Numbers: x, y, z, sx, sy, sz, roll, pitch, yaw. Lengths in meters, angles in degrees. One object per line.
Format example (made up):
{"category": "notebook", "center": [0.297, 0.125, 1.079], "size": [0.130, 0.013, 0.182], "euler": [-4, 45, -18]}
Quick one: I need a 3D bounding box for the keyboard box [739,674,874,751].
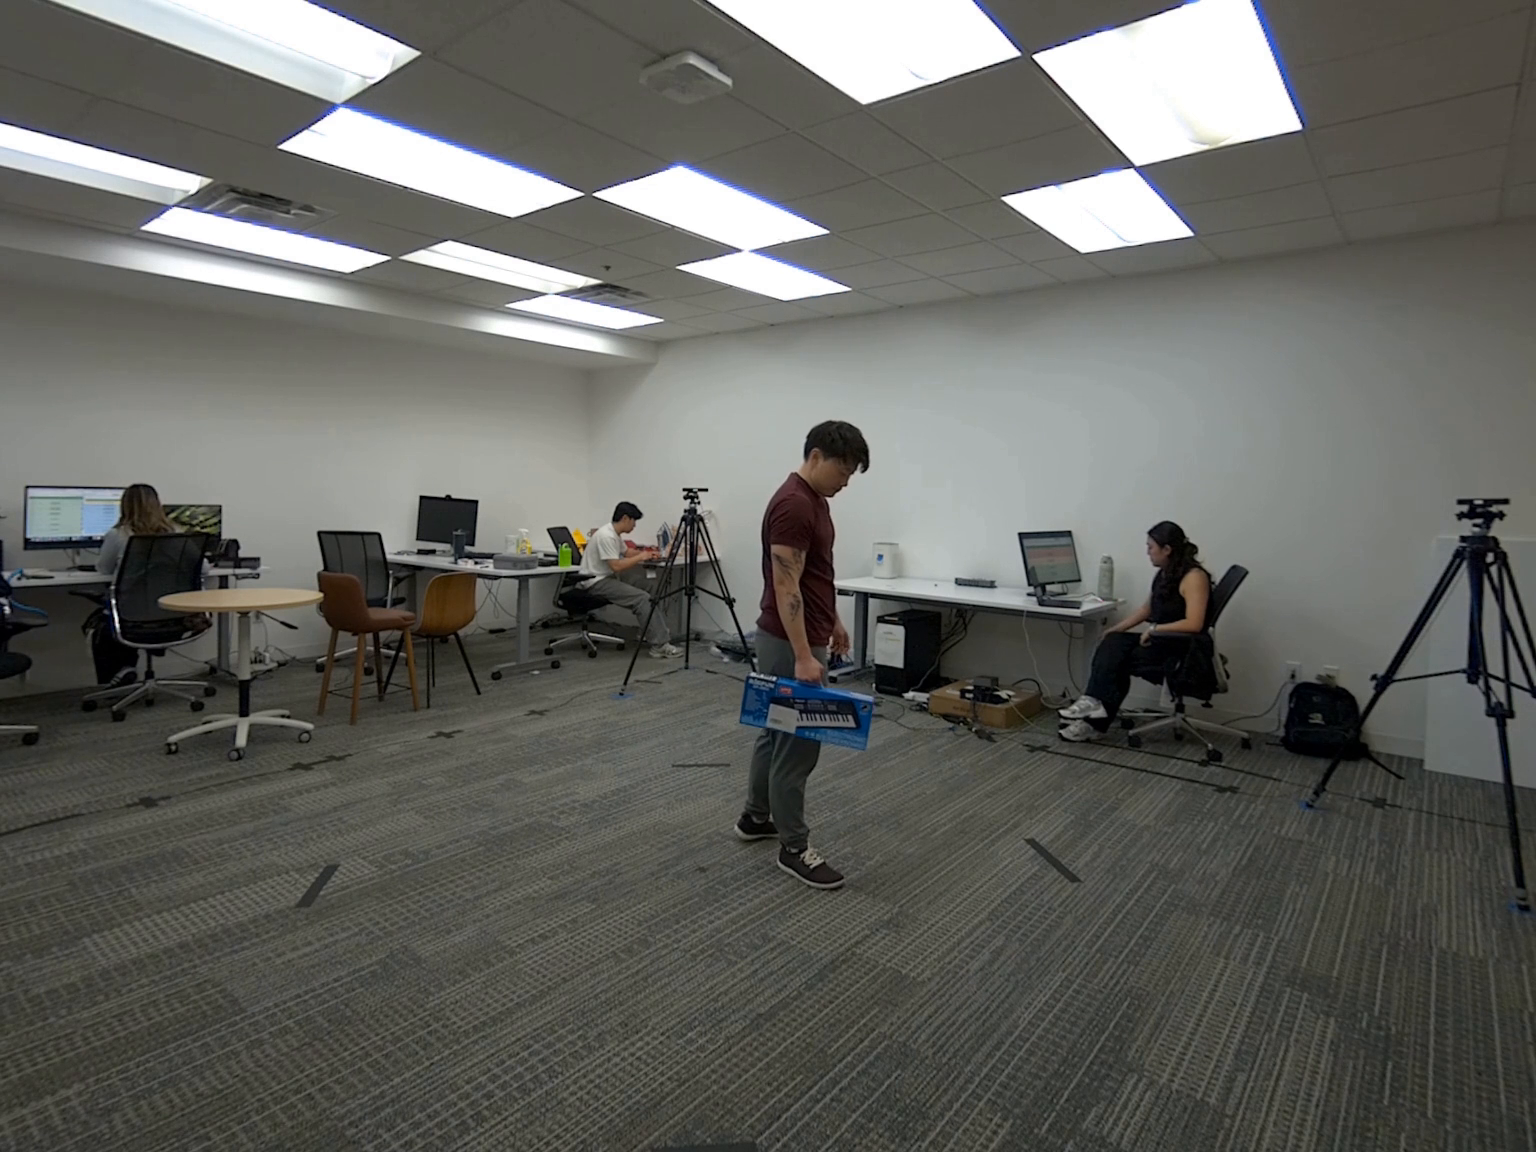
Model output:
{"category": "keyboard box", "center": [0.122, 0.454, 2.898], "size": [0.443, 0.175, 0.058], "euler": [10, 8, 11]}
